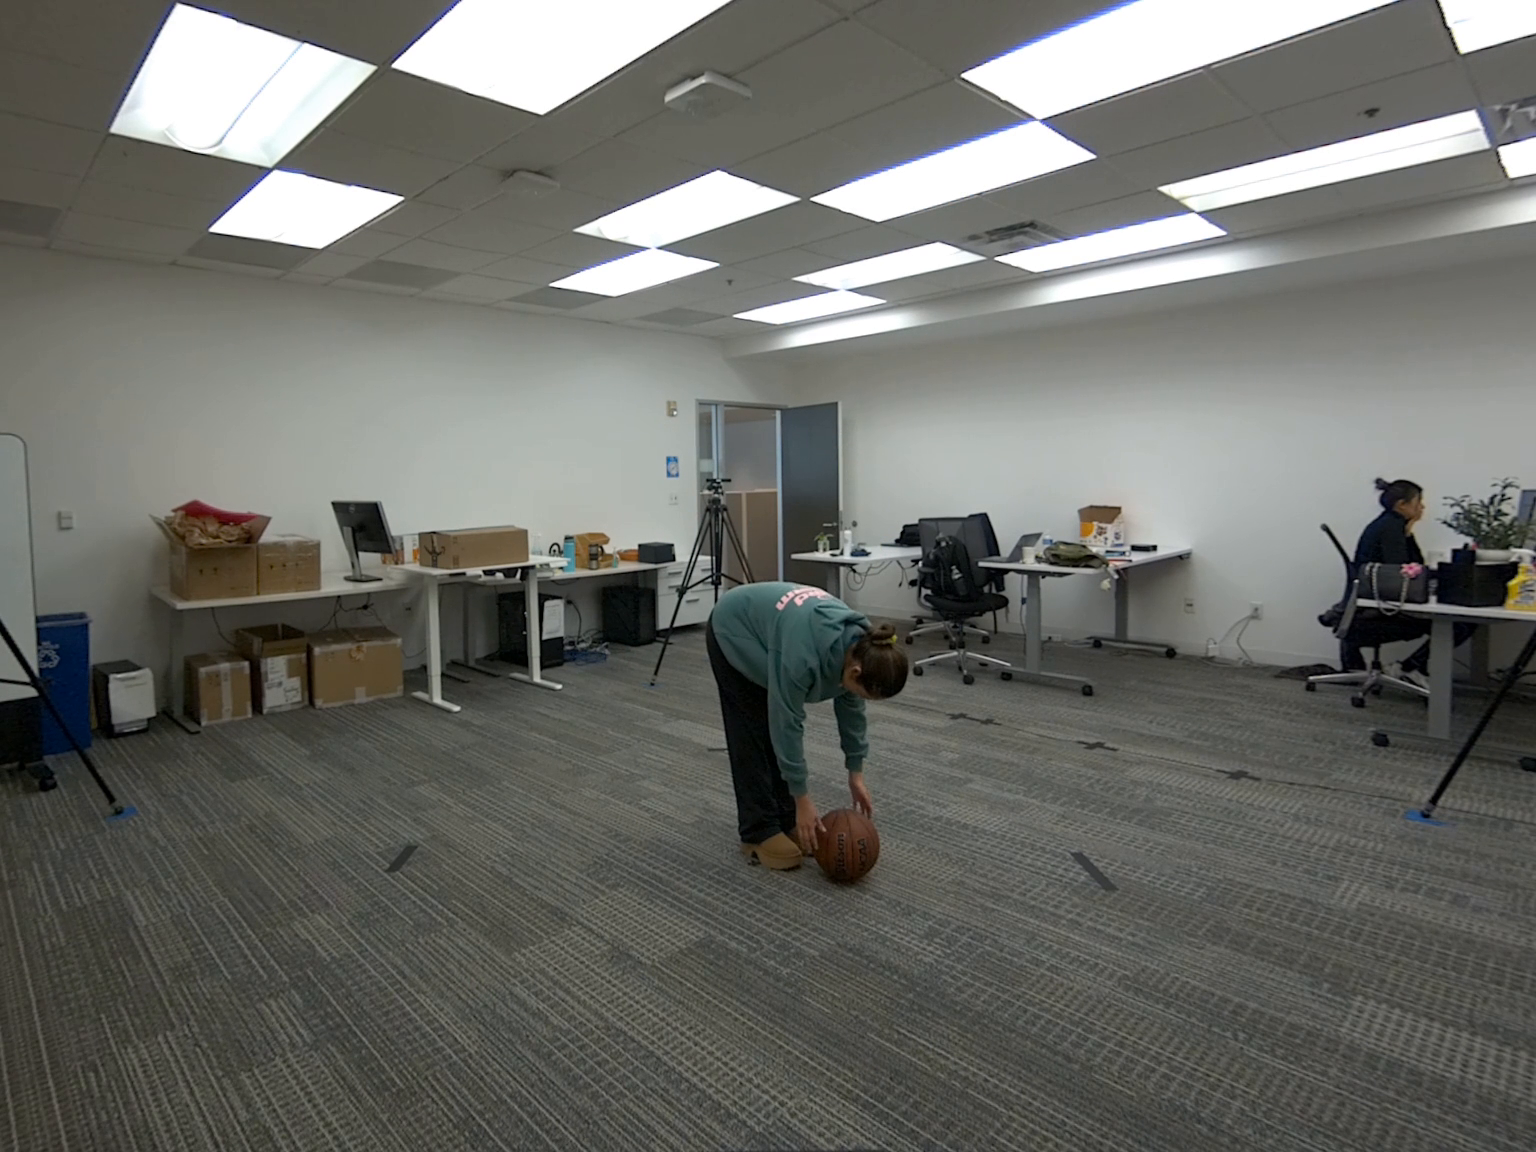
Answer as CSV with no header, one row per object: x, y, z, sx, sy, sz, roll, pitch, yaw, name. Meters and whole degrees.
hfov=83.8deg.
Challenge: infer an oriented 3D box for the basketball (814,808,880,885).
0.273,0.929,2.982,0.236,0.235,0.237,-1,5,-2,basketball
